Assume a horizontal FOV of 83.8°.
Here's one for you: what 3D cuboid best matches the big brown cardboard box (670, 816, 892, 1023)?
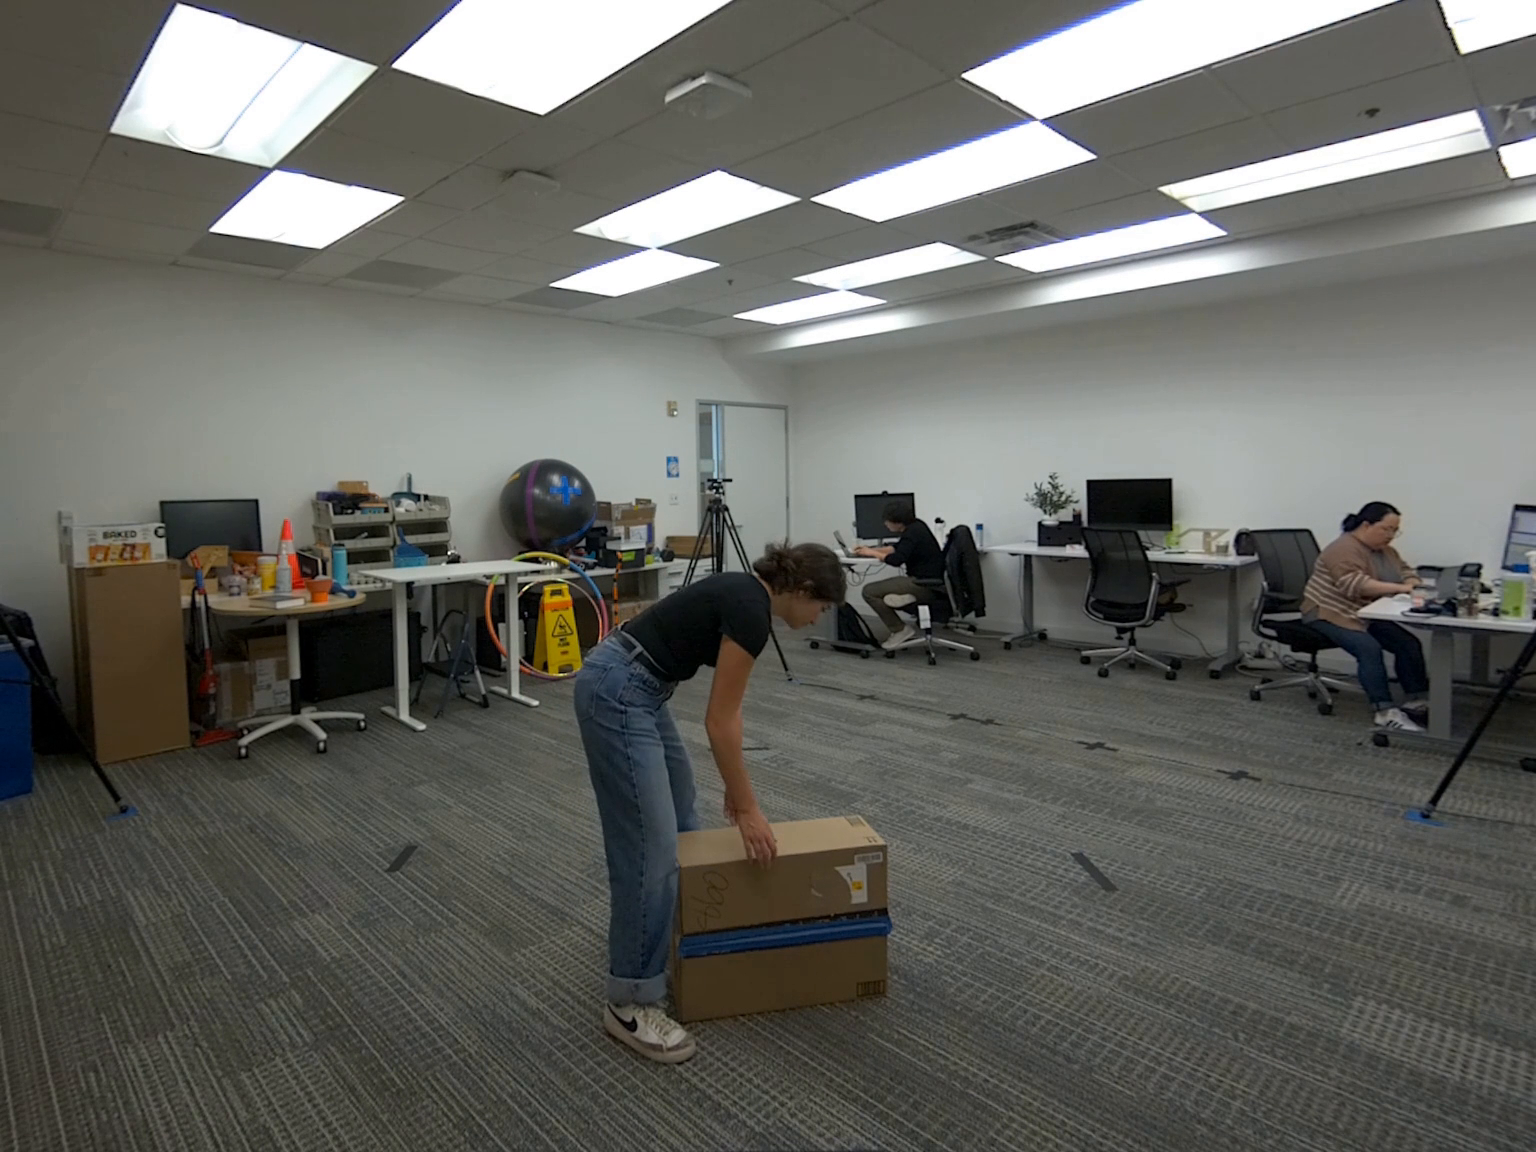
[{"bbox_3d":[0.034,0.923,2.342,0.583,0.416,0.236,-3,3,-10],"label":"big brown cardboard box"}]
